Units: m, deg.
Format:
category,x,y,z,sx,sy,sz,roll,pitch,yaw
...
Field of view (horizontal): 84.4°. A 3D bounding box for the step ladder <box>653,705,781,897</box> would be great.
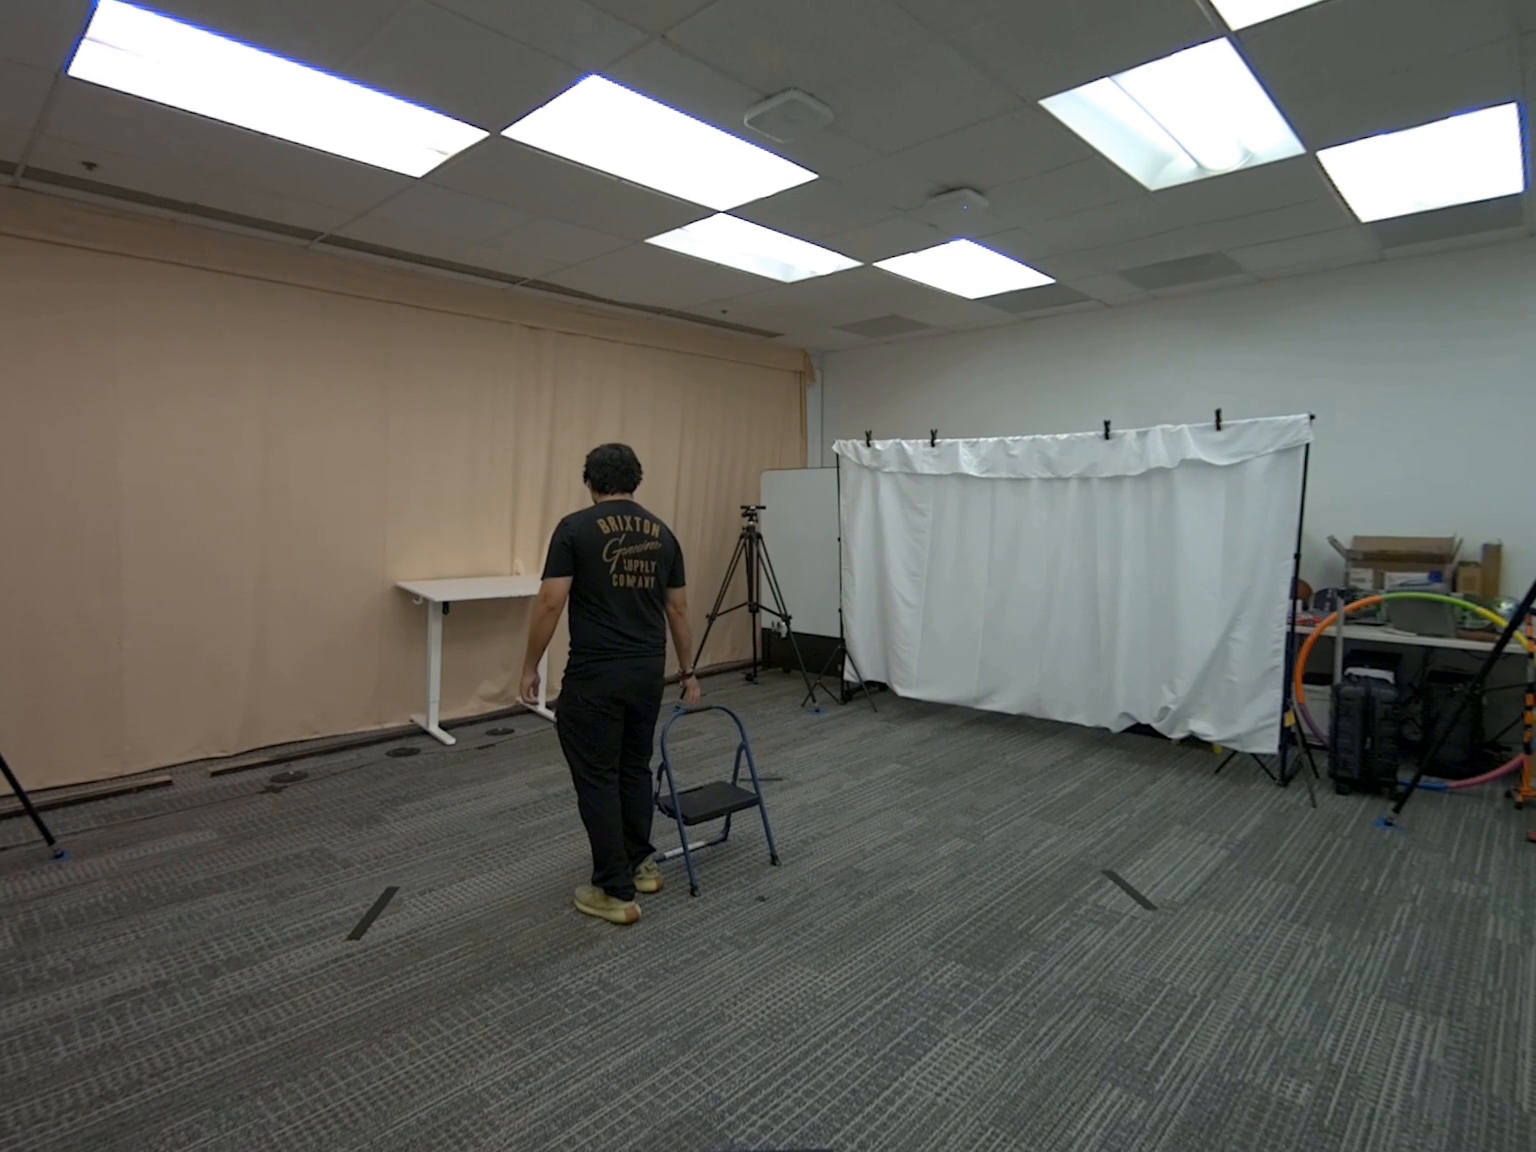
category,x,y,z,sx,sy,sz,roll,pitch,yaw
step ladder,-0.217,0.818,3.251,0.417,0.605,0.361,-4,5,-41
